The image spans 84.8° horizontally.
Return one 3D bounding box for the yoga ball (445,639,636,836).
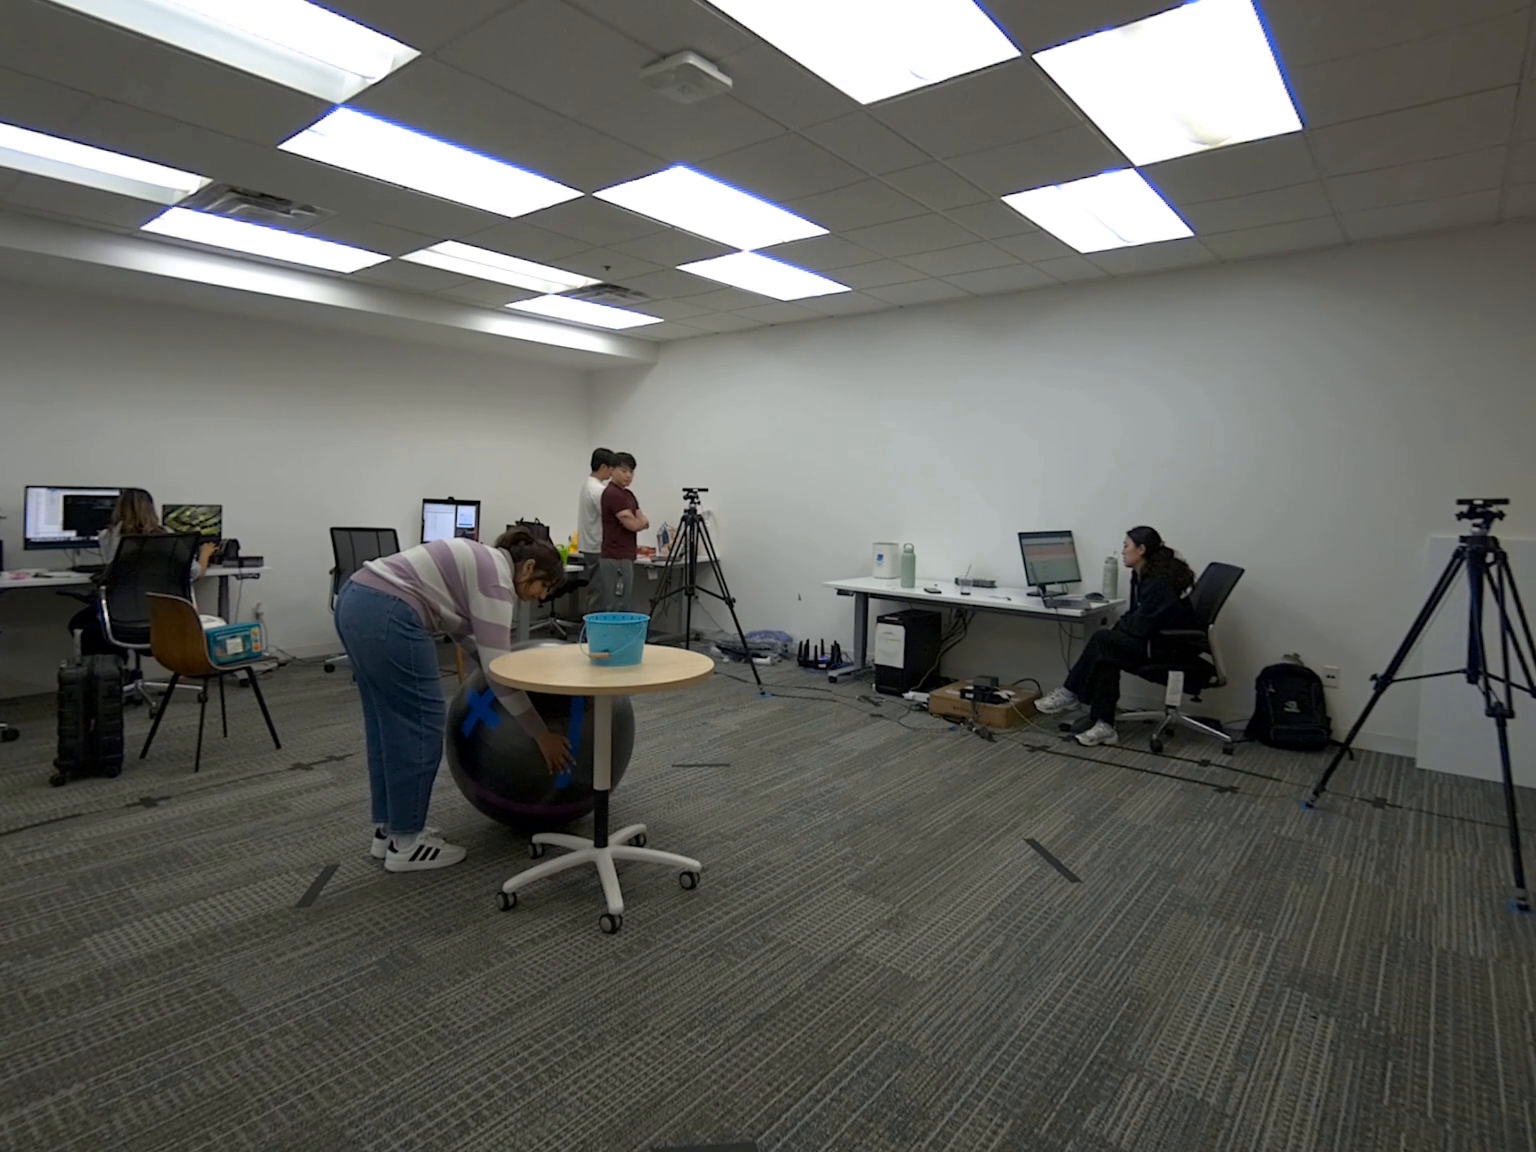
[{"bbox_3d":[-0.941,0.641,3.502,0.757,0.755,0.762,1,4,-2],"label":"yoga ball"}]
